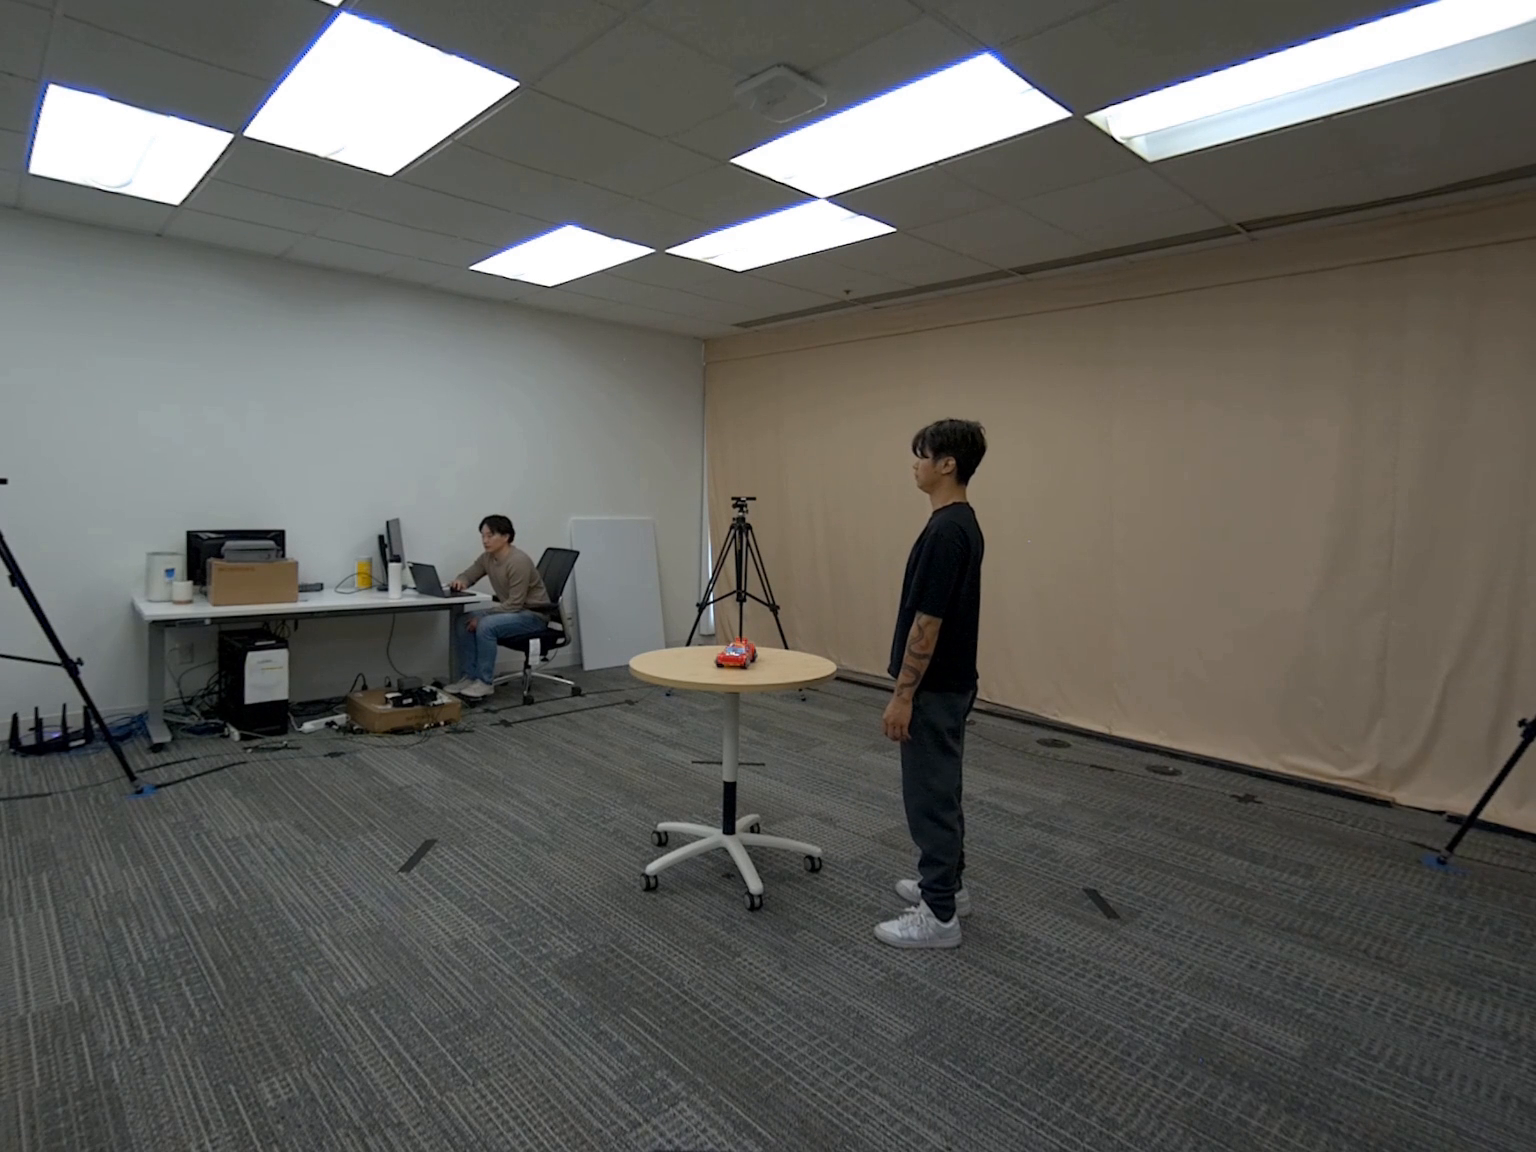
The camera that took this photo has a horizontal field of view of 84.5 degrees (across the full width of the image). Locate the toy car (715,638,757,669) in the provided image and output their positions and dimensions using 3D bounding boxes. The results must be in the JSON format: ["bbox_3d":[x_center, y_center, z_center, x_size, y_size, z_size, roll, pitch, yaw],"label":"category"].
[{"bbox_3d":[-0.116,0.292,3.106,0.131,0.082,0.255,1,16,10],"label":"toy car"}]
